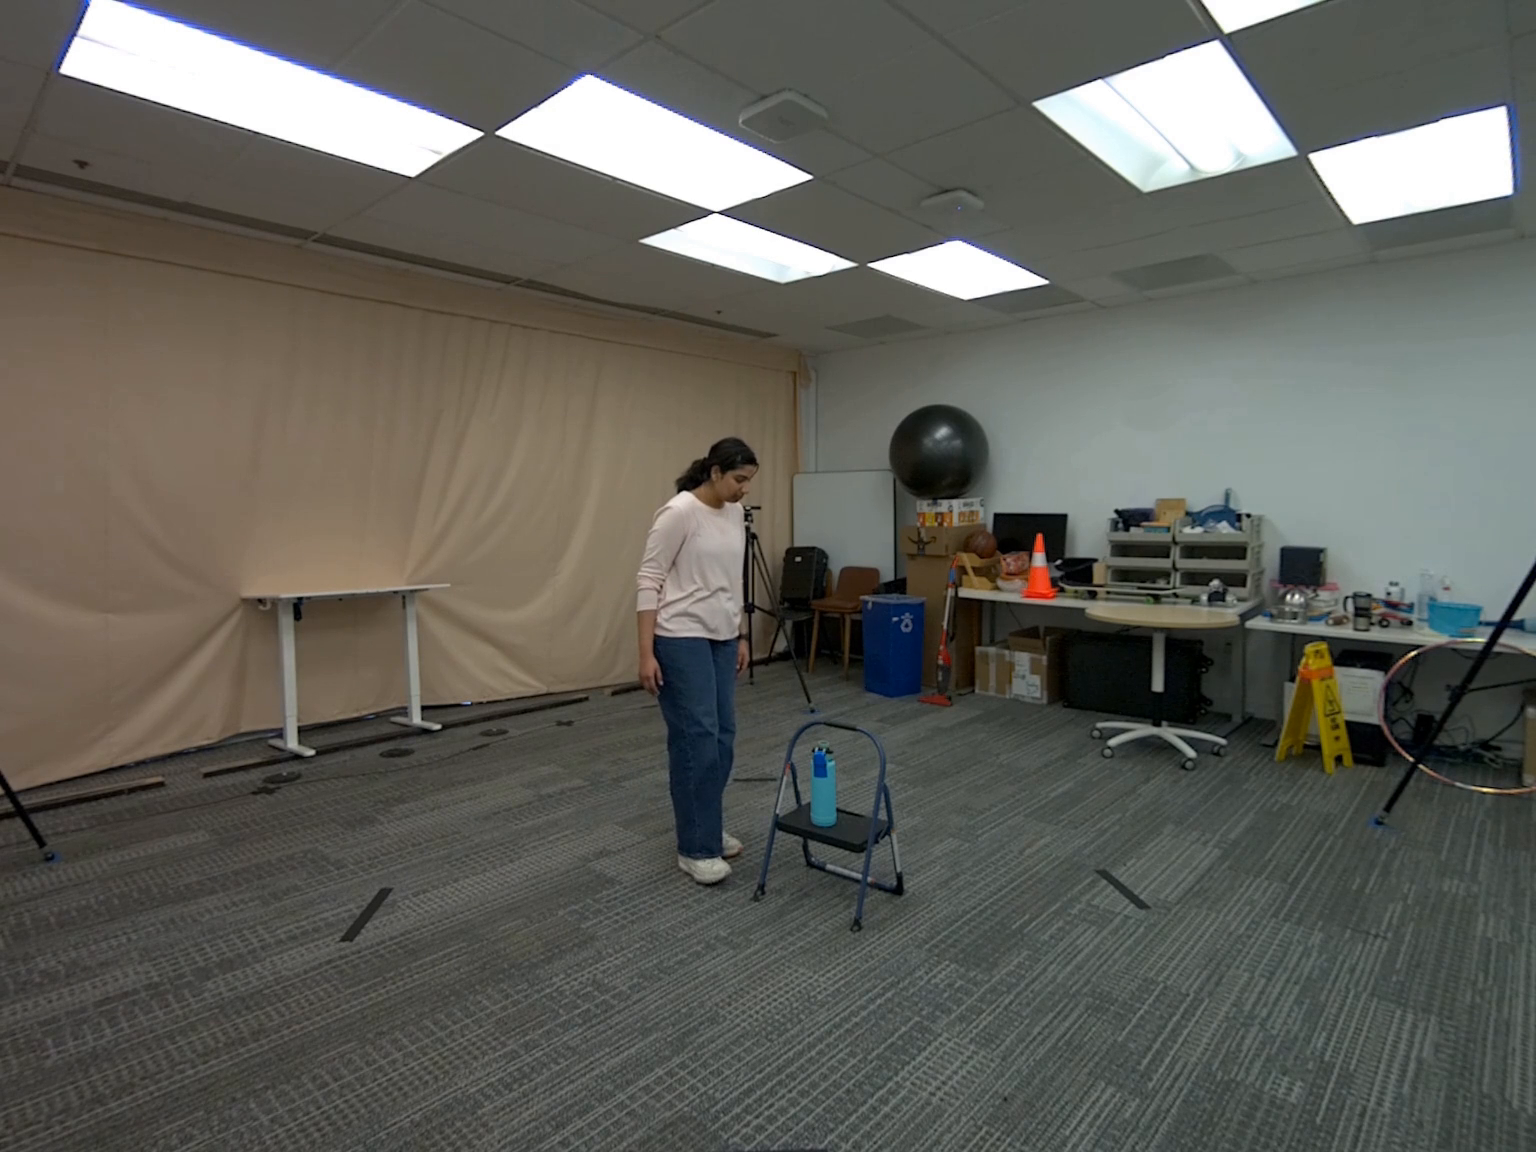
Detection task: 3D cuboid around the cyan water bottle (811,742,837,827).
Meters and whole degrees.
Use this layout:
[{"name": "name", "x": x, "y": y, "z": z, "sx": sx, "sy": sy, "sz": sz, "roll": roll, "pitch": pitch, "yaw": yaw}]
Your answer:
[{"name": "cyan water bottle", "x": 0.198, "y": 0.744, "z": 3.002, "sx": 0.092, "sy": 0.282, "sz": 0.093, "roll": -3, "pitch": 6, "yaw": -2}]
